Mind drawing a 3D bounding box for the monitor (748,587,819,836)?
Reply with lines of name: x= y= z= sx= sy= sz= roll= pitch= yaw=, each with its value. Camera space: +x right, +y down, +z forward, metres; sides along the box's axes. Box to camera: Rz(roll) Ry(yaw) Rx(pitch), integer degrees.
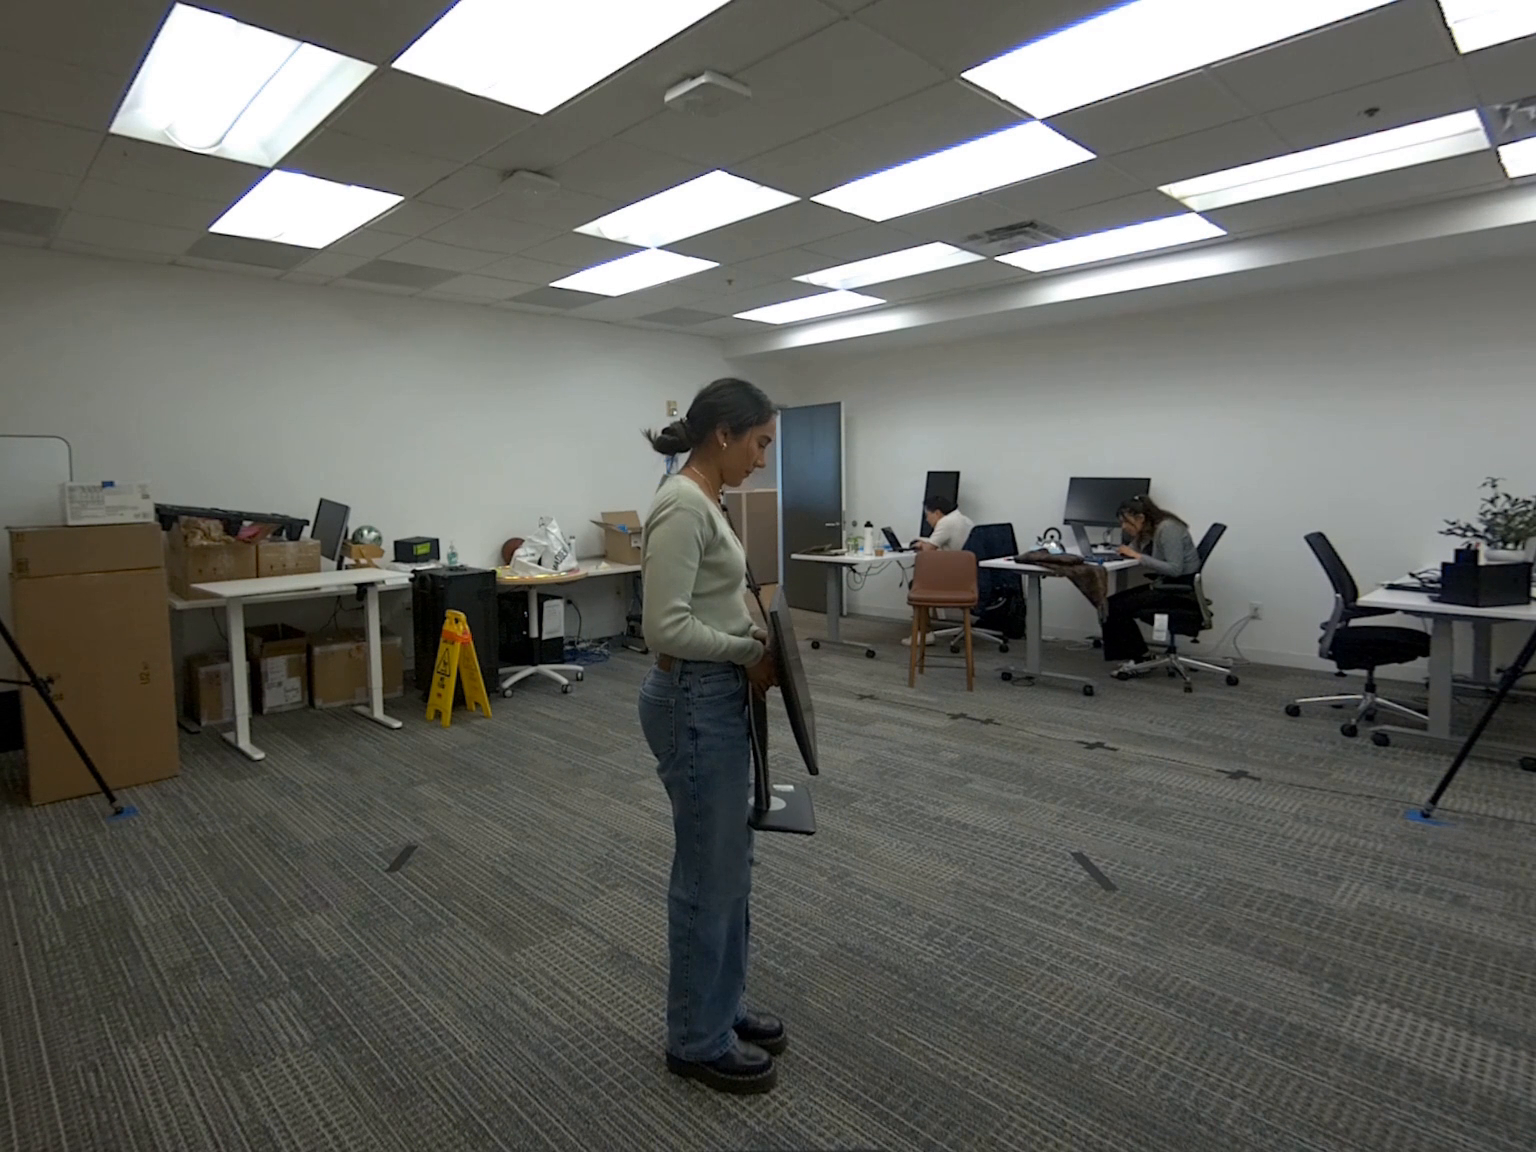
monitor: x=0.036 y=0.298 z=2.031 sx=0.175 sy=0.515 sz=0.530 roll=5 pitch=2 yaw=0
